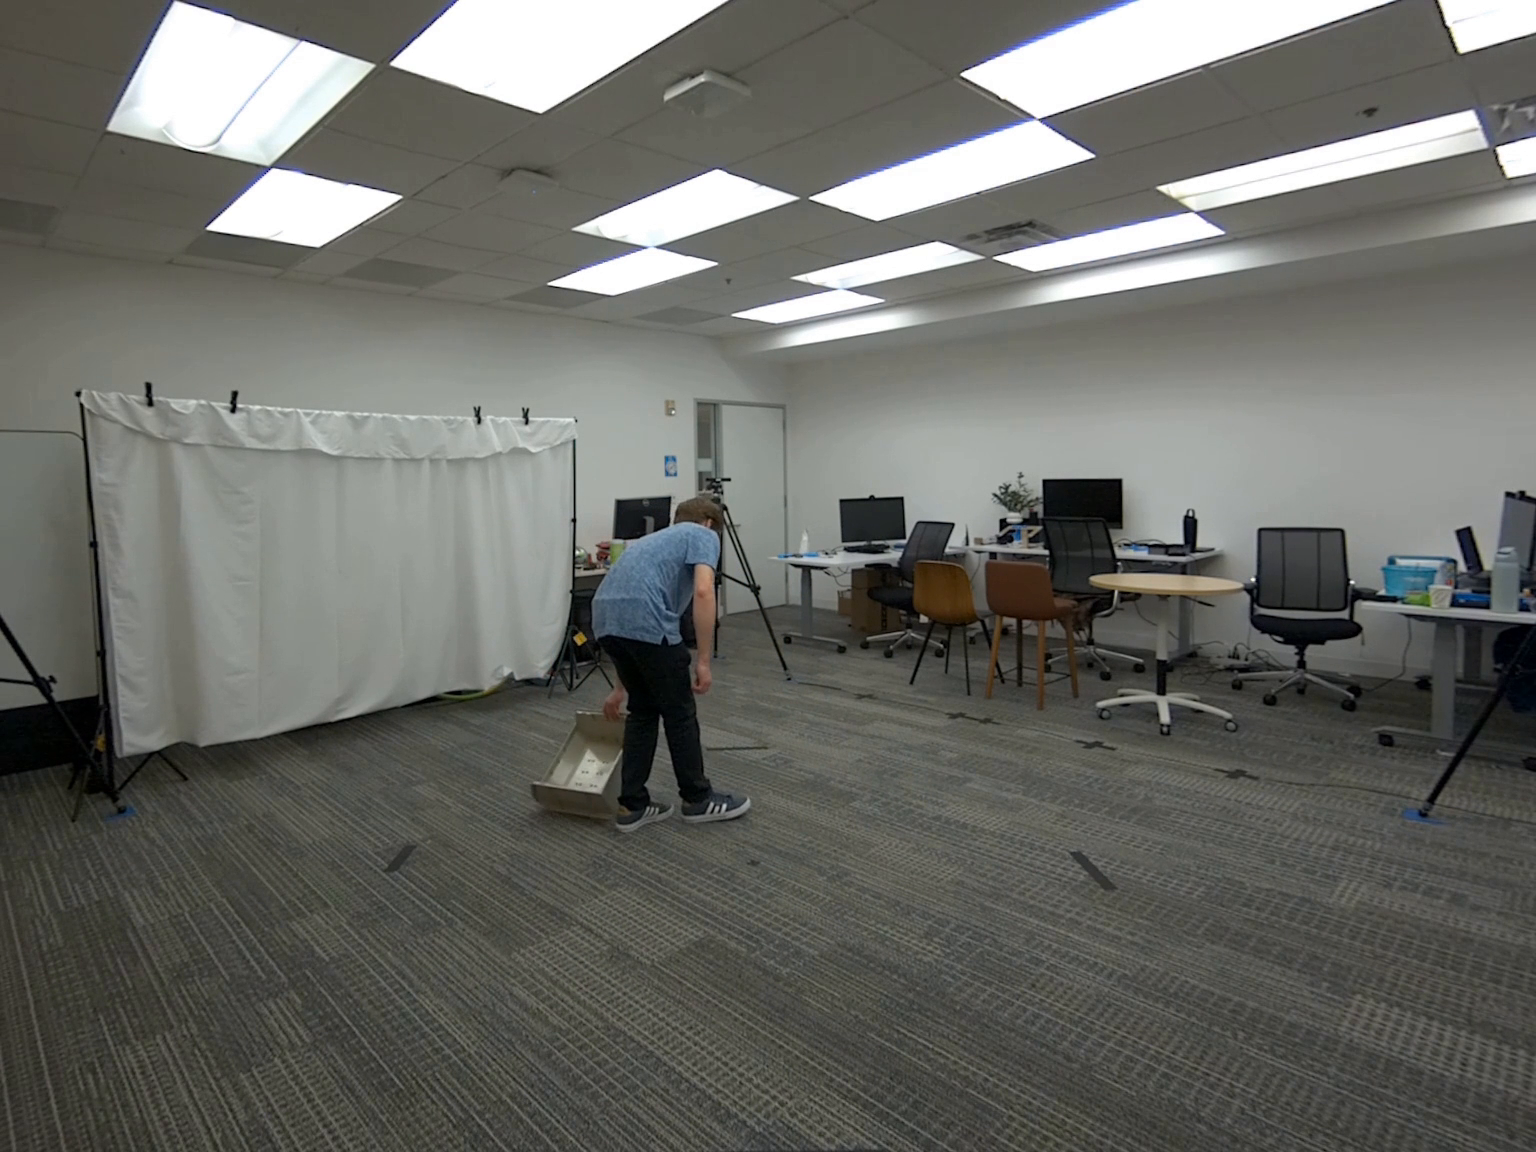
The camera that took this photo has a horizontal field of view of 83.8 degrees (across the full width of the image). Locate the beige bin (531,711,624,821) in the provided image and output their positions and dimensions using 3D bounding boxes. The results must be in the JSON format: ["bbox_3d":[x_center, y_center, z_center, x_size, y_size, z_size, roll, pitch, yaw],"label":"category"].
[{"bbox_3d":[-0.768,0.805,3.696,0.385,0.183,0.426,1,36,21],"label":"beige bin"}]
